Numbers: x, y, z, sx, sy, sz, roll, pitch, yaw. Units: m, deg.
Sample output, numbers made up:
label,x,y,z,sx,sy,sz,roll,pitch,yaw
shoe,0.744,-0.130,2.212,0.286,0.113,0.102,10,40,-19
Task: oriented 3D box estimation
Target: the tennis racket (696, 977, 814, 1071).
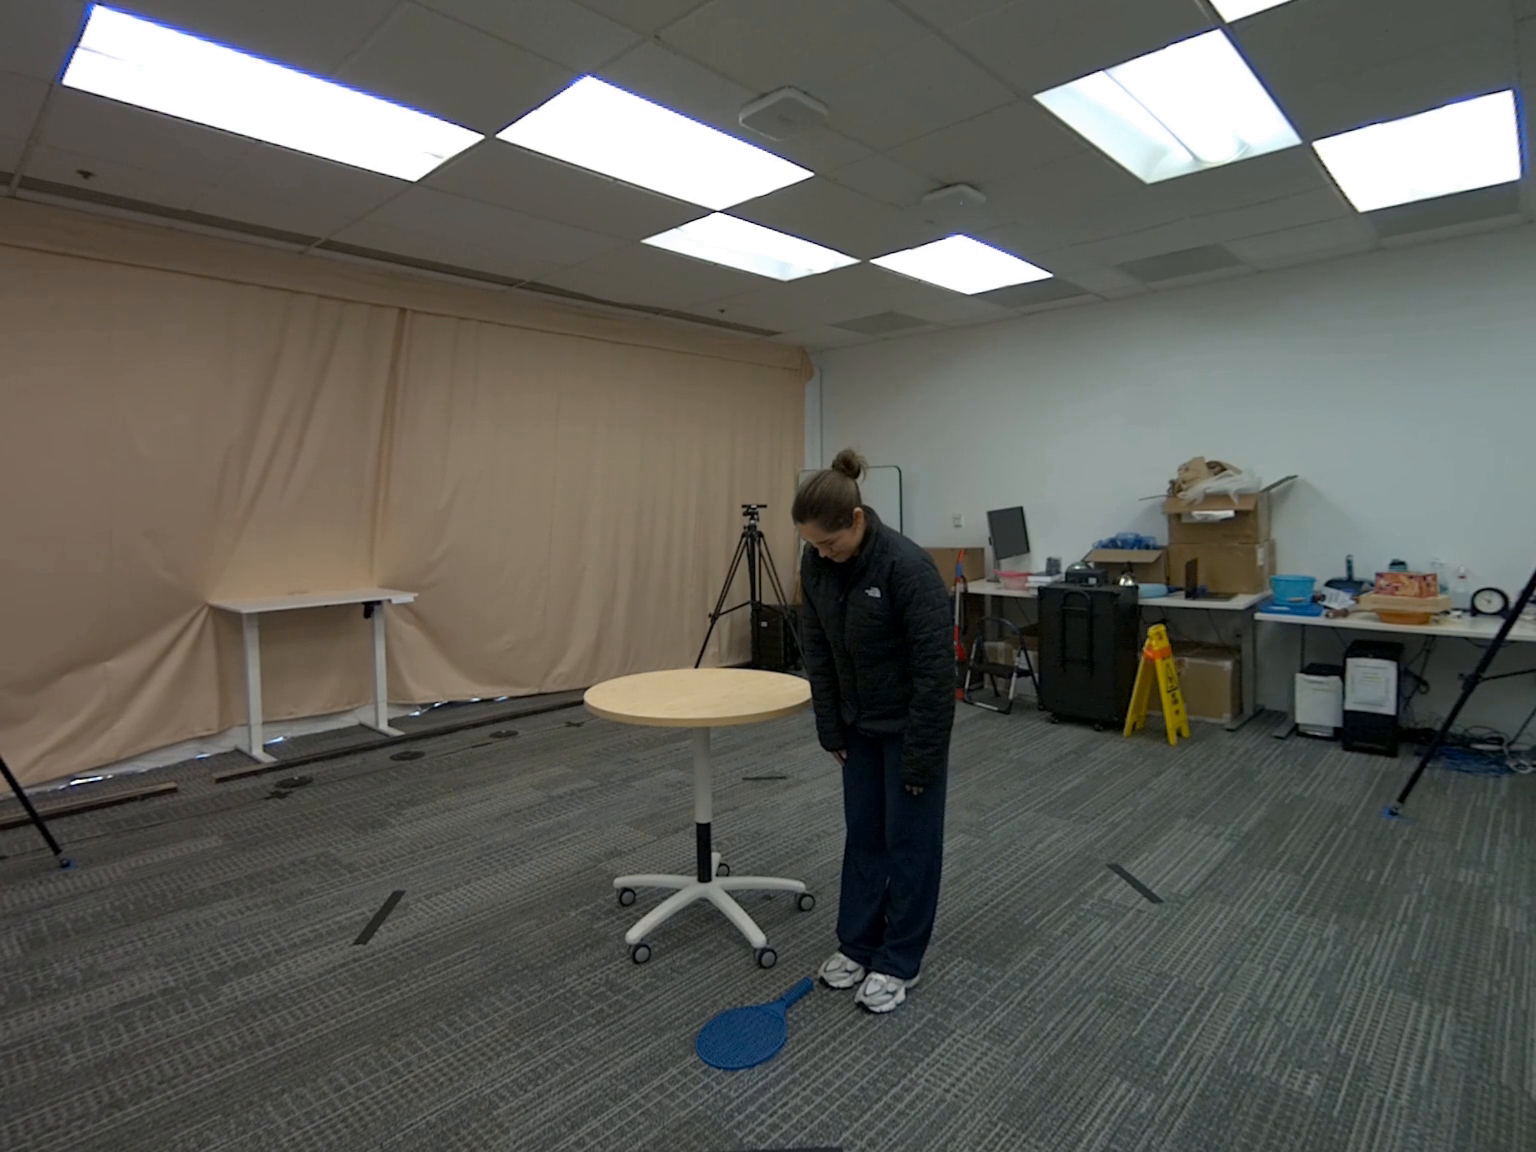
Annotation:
label,x,y,z,sx,sy,sz,roll,pitch,yaw
tennis racket,0.004,1.190,2.258,0.221,0.031,0.420,3,8,40
